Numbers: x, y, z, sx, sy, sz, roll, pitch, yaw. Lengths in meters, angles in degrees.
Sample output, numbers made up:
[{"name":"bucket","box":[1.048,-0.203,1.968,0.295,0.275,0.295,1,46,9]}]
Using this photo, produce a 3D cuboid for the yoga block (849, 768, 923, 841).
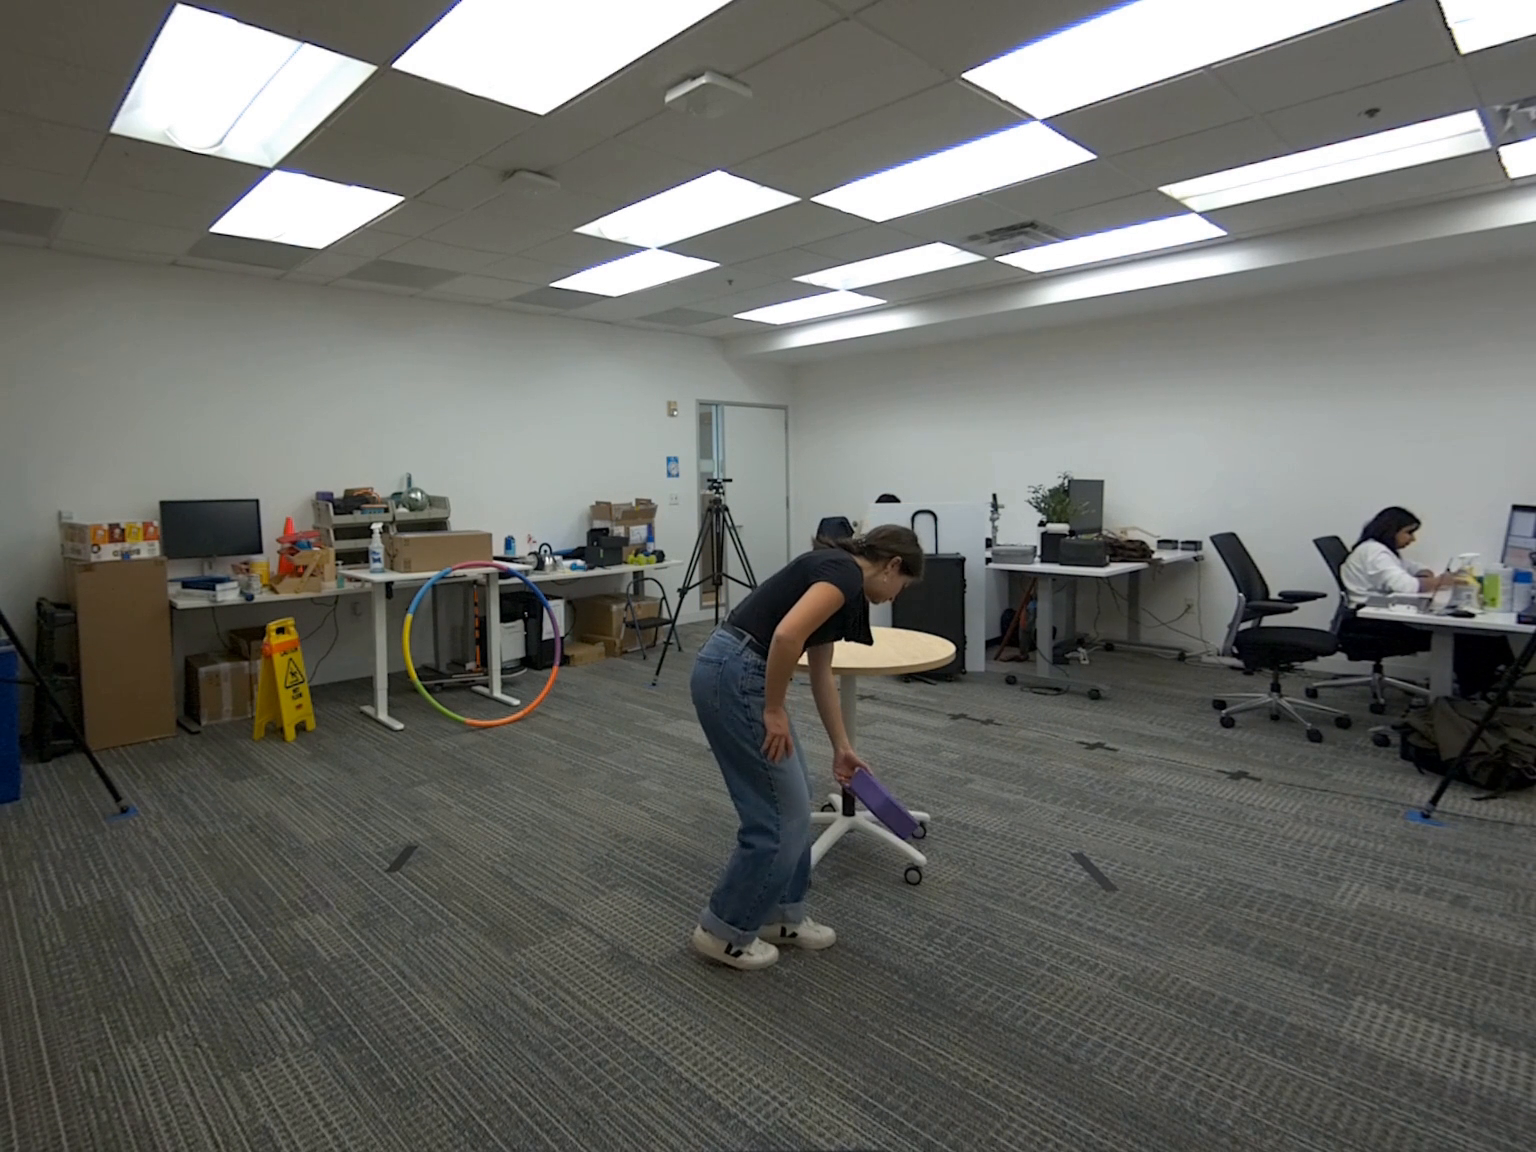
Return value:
[{"name":"yoga block","box":[0.359,0.707,2.647,0.221,0.076,0.154,45,-3,-36]}]
